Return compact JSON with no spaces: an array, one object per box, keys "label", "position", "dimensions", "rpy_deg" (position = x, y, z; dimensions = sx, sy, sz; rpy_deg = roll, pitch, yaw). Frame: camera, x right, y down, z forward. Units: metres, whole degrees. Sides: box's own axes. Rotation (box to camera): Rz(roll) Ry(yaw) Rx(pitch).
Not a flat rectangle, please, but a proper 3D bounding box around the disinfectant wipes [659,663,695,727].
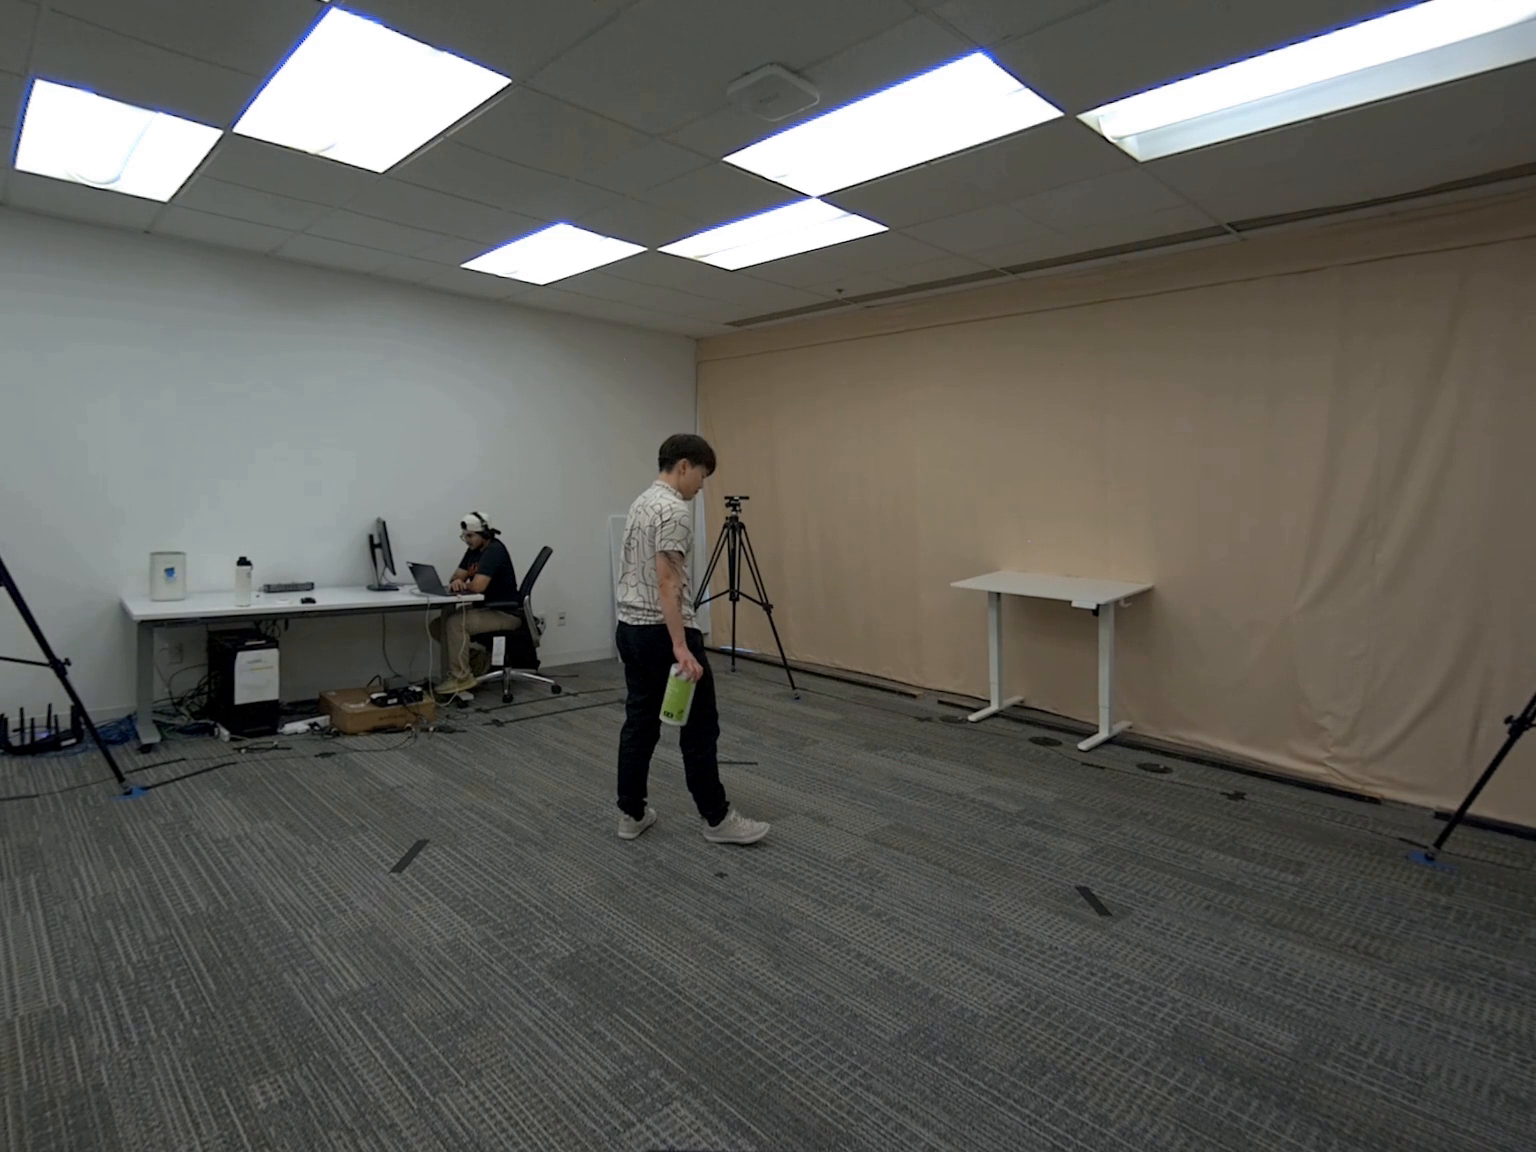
[{"label":"disinfectant wipes","position":[-0.357,0.458,3.217],"dimensions":[0.117,0.216,0.119],"rpy_deg":[11,10,-3]}]
